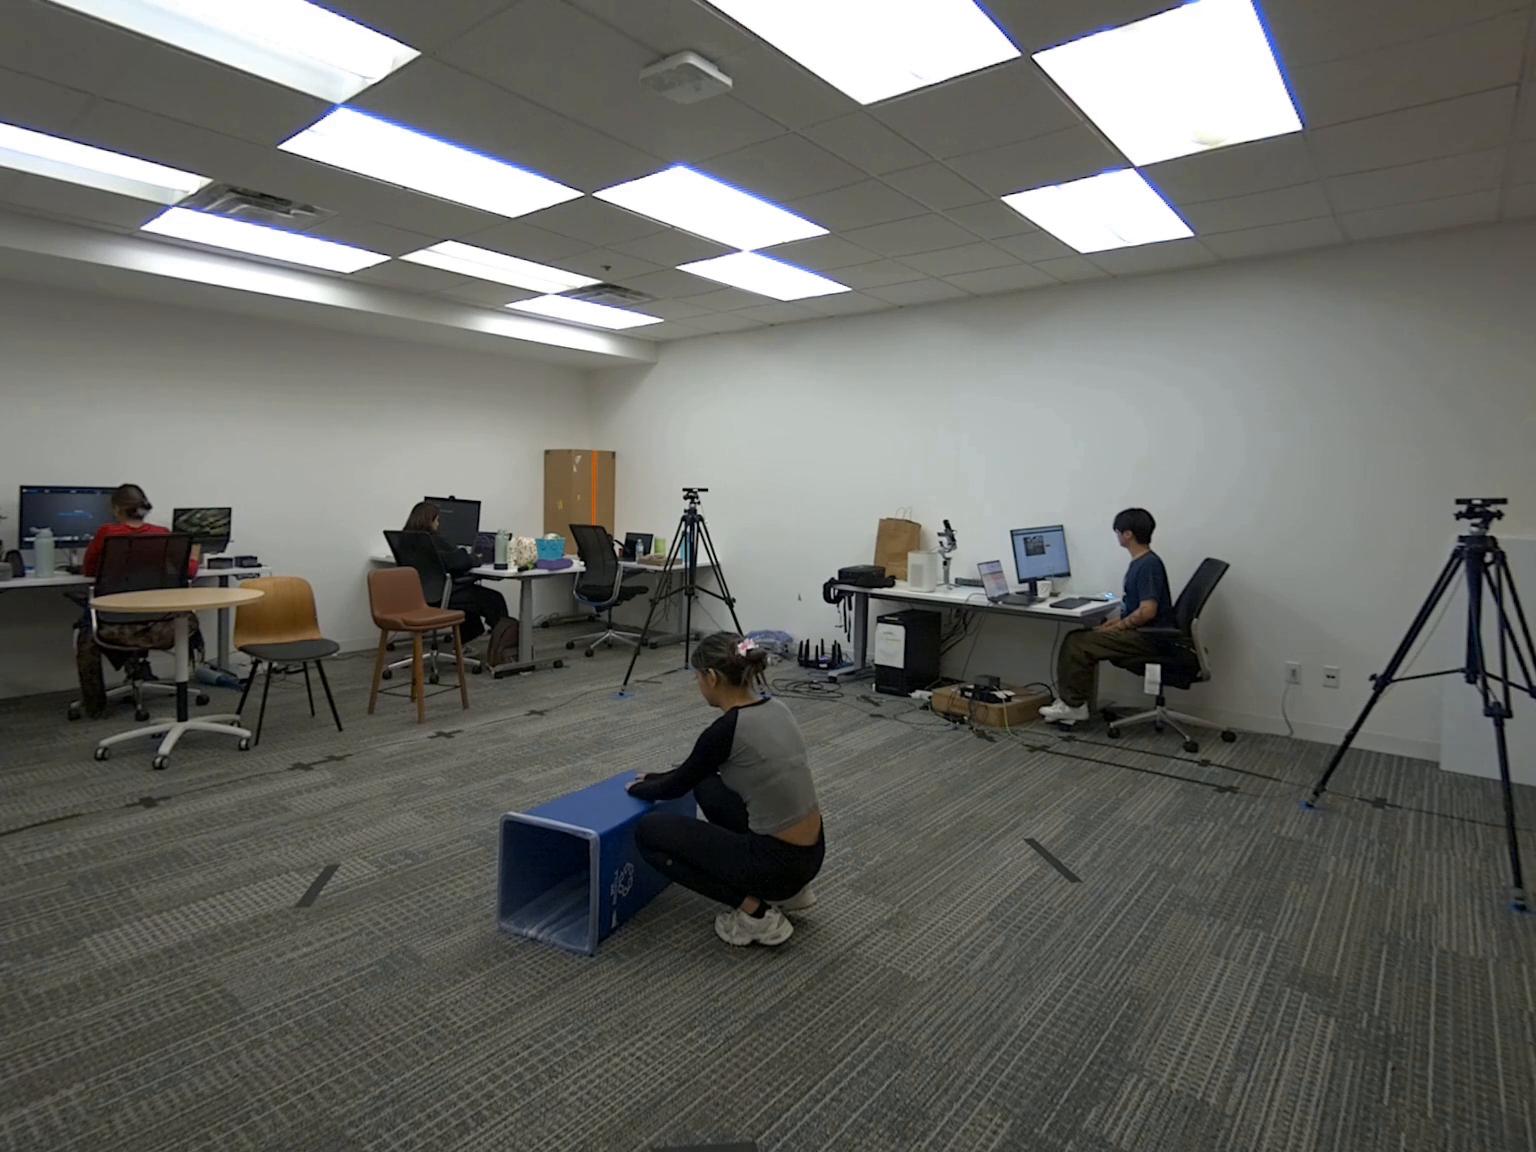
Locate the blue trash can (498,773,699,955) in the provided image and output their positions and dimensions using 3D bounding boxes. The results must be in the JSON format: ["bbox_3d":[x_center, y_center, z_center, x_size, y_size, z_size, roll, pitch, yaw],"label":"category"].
[{"bbox_3d":[-0.548,0.916,2.900,0.384,0.378,0.696,2,3,24],"label":"blue trash can"}]
